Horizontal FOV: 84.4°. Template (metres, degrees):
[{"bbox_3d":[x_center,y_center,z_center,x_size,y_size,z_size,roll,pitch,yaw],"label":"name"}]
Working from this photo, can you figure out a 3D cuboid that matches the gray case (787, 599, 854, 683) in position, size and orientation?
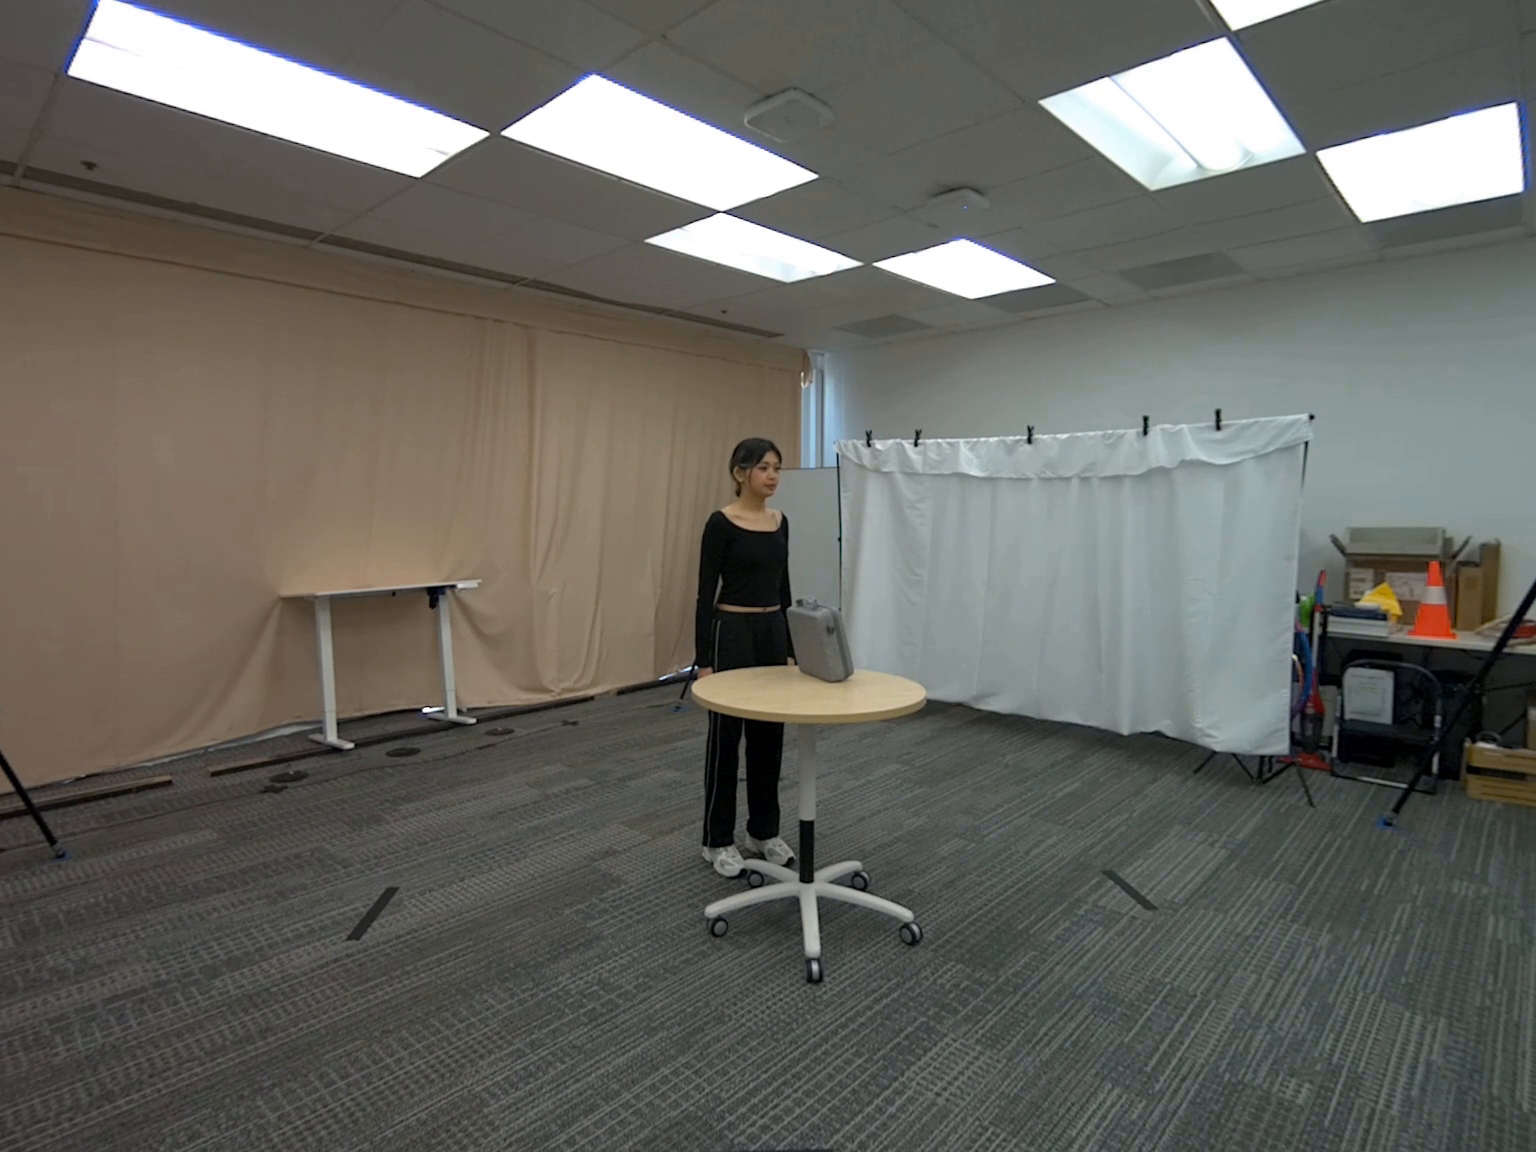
[{"bbox_3d":[0.183,0.225,2.943,0.102,0.259,0.263,-13,8,-22],"label":"gray case"}]
